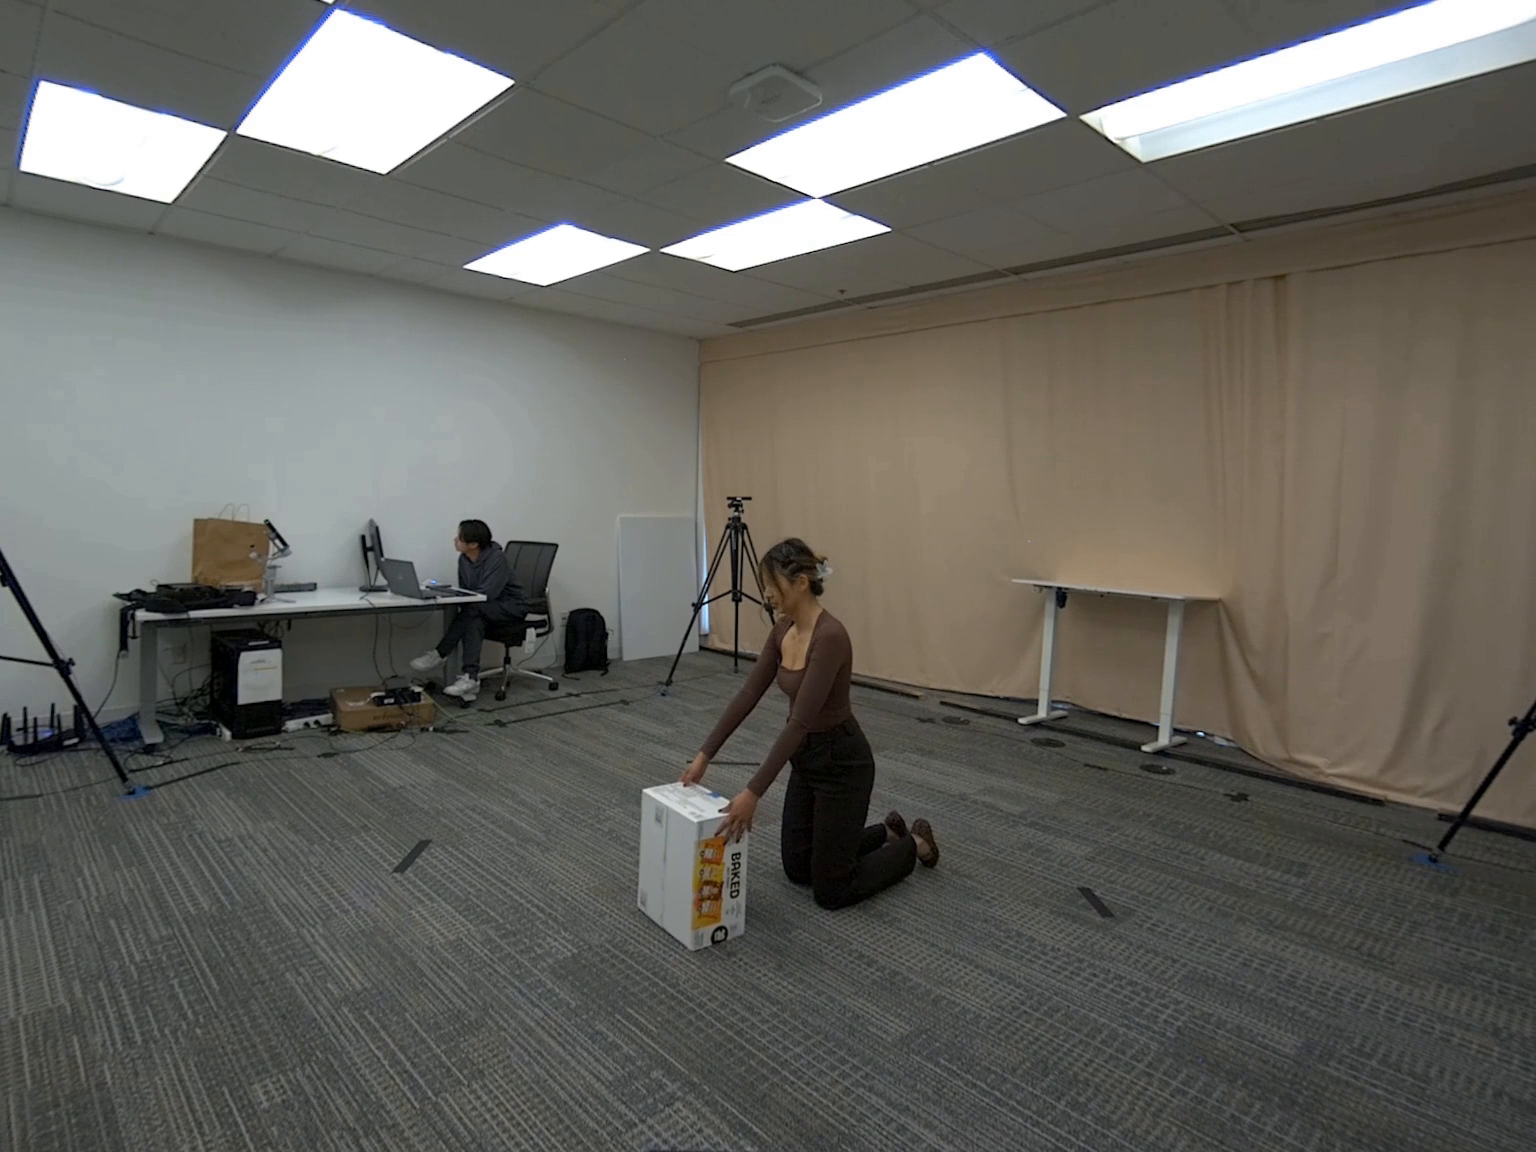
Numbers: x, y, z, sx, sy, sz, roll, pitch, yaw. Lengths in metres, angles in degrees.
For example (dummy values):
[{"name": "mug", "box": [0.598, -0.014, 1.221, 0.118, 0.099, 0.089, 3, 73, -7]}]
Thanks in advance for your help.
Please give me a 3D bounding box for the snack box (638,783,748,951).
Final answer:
[{"name": "snack box", "box": [-0.252, 0.930, 2.755, 0.201, 0.404, 0.349, 0, 4, -37]}]
